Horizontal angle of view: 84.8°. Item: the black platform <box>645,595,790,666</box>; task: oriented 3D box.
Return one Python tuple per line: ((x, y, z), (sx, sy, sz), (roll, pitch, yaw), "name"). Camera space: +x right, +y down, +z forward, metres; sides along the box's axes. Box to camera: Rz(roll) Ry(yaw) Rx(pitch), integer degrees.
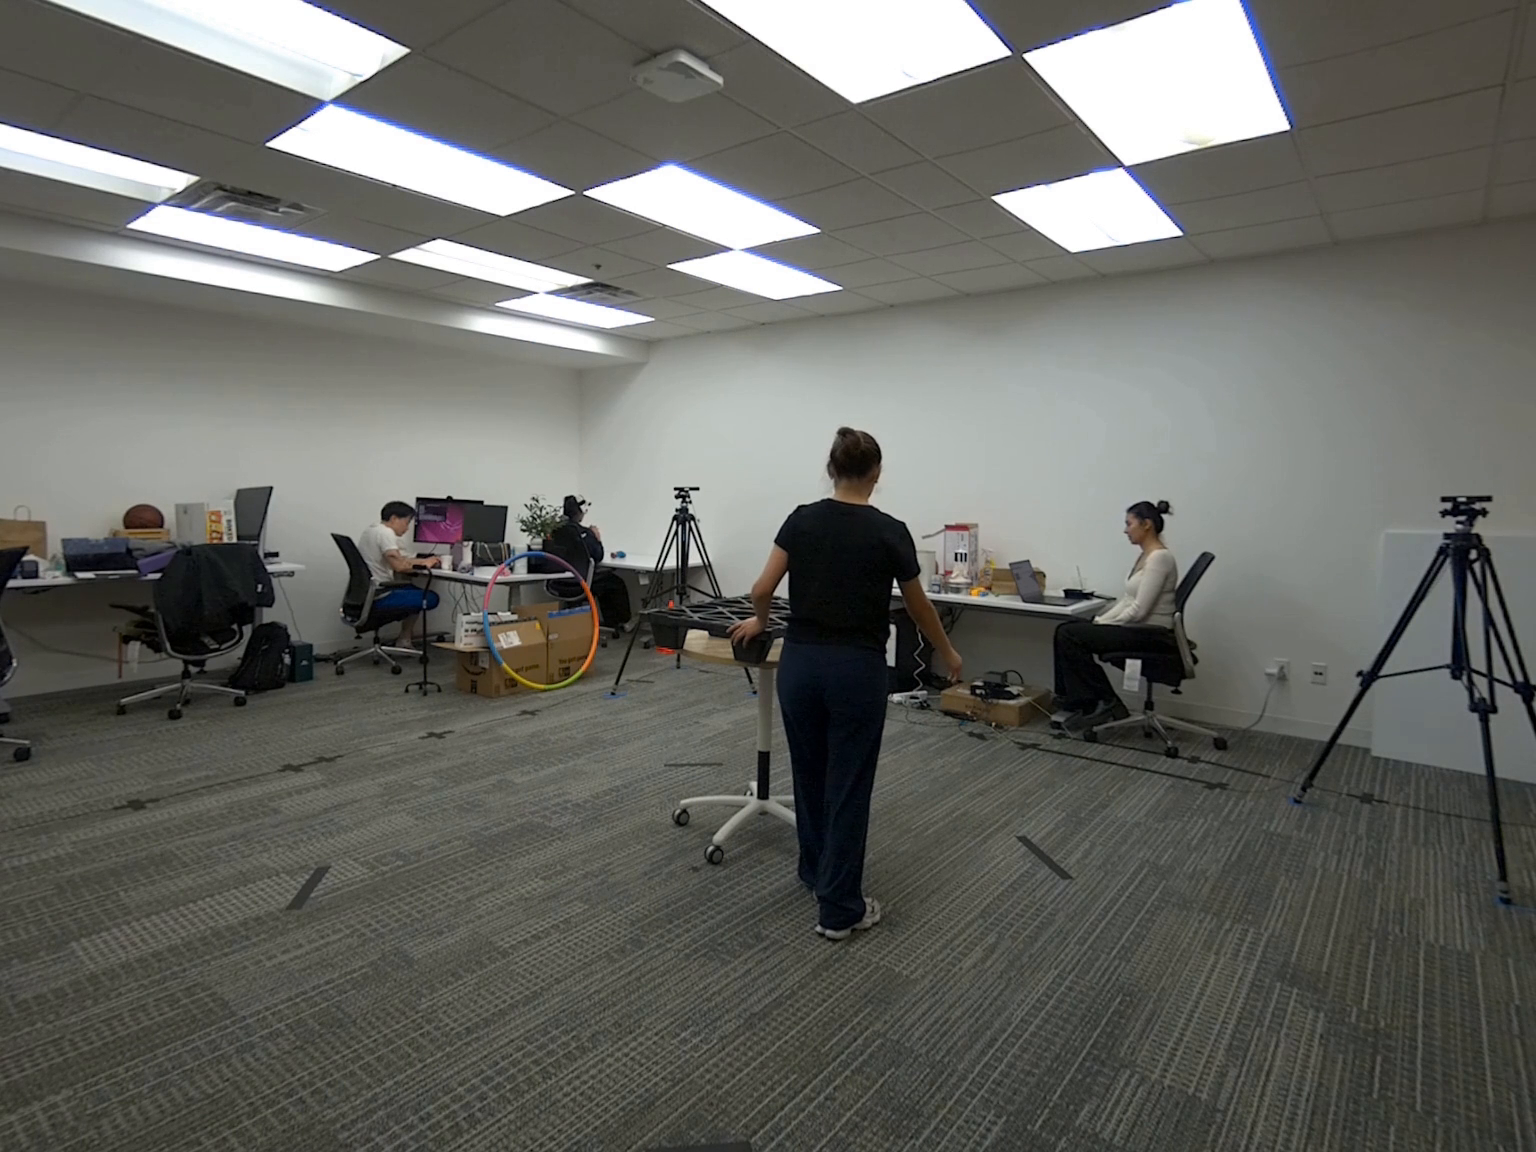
((-0.004, 0.192, 3.395), (0.625, 0.143, 0.783), (5, 8, 36), "black platform")
